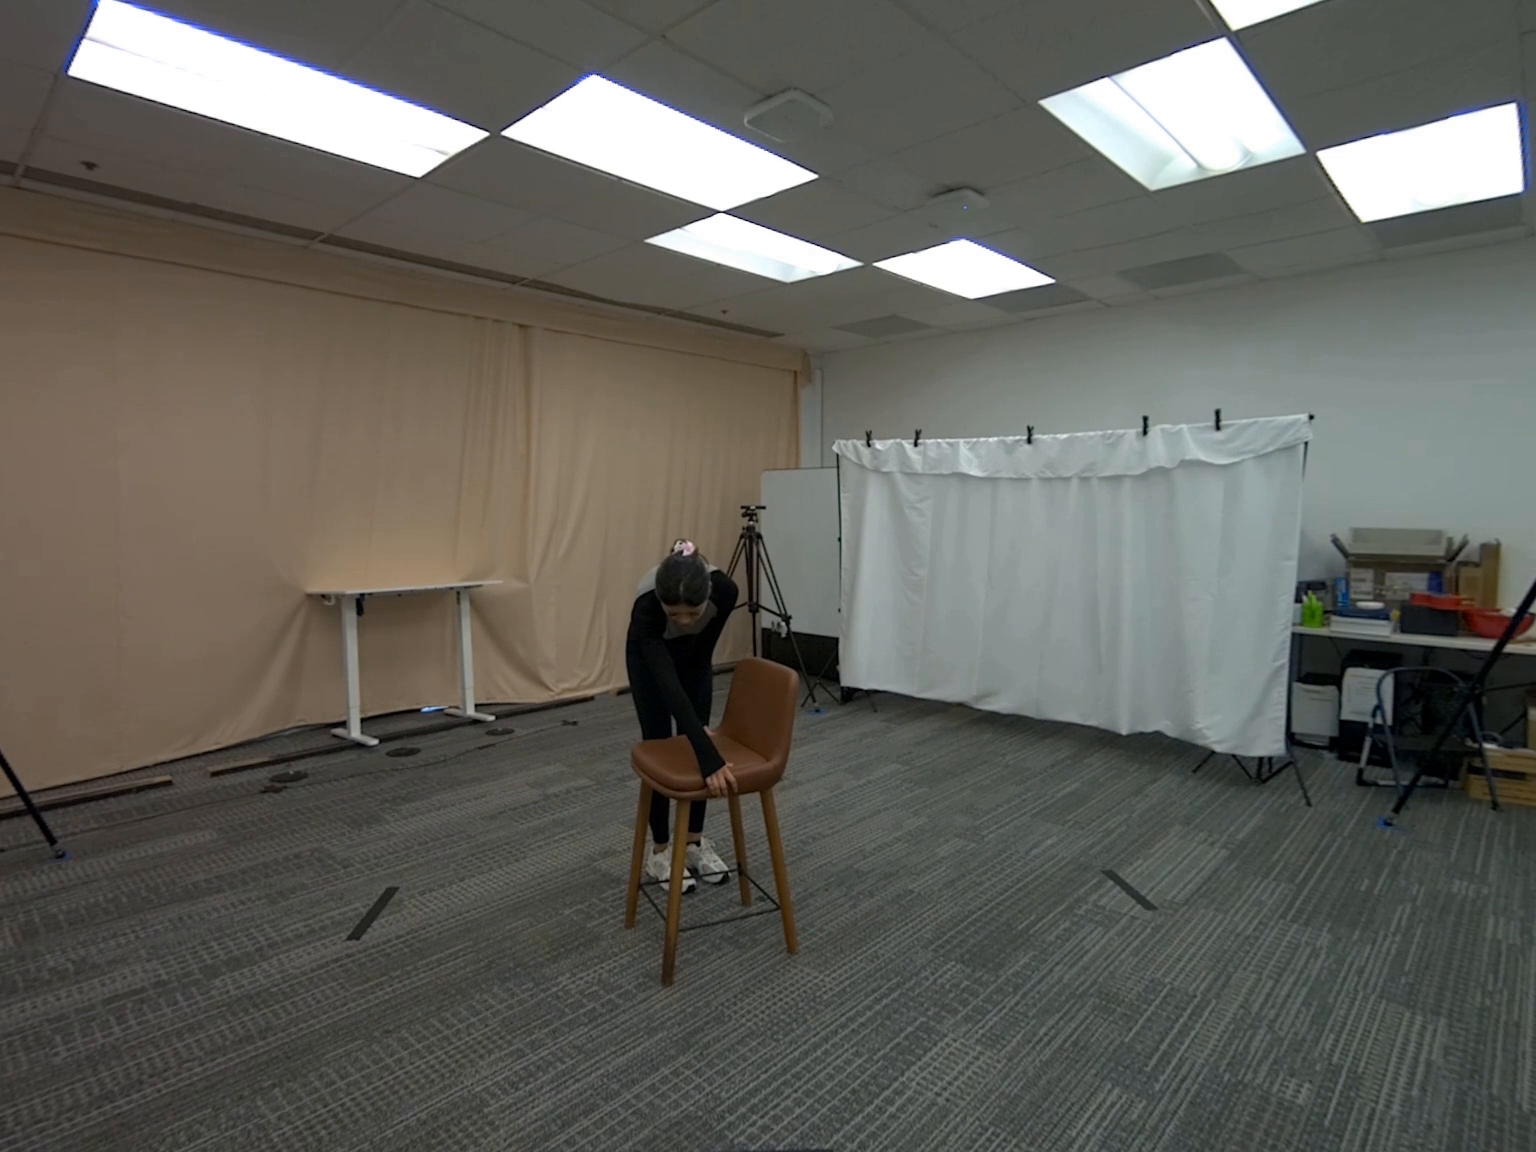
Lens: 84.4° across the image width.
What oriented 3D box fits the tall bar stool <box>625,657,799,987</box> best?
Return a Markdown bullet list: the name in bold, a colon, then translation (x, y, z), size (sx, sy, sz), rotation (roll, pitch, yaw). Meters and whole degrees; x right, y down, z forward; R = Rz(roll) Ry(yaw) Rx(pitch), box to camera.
- **tall bar stool**: translation (-0.179, 0.734, 2.682), size (0.456, 0.889, 0.468), rotation (0, 2, -25)
